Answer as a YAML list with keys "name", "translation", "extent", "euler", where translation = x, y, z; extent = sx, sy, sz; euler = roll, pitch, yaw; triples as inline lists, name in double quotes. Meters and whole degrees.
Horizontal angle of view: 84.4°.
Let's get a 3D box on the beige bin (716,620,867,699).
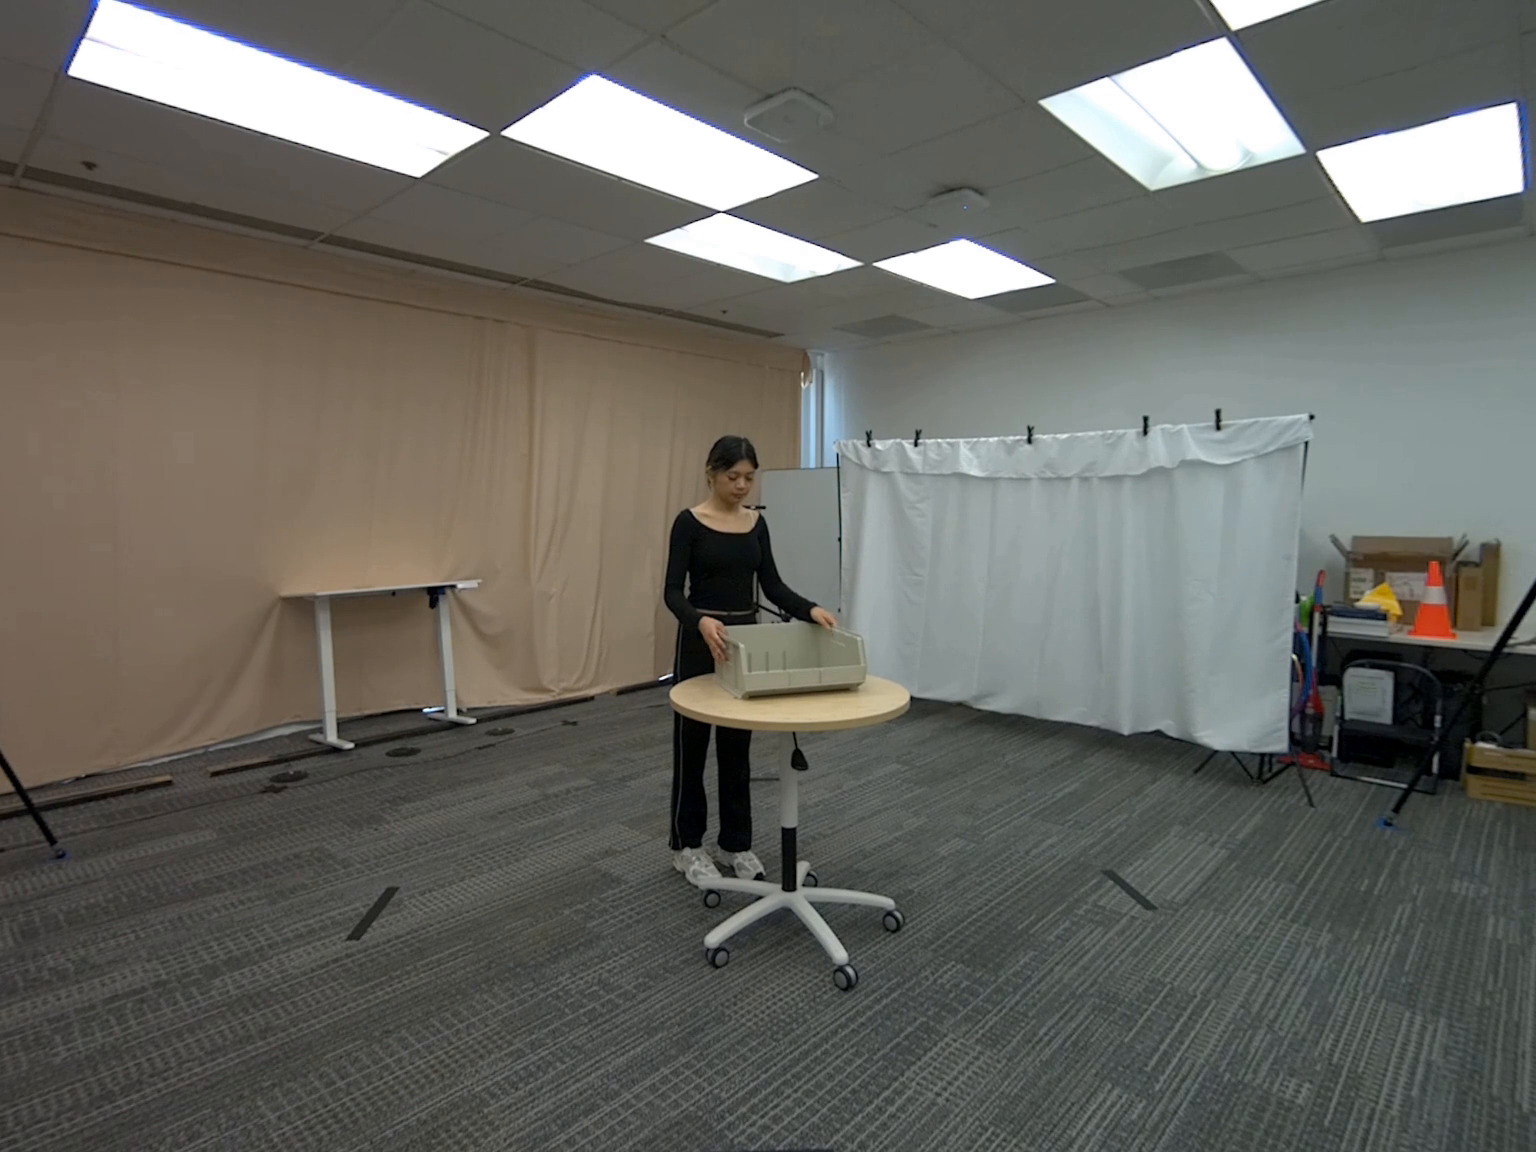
- name: "beige bin"
  translation: [0.066, 0.276, 2.789]
  extent: [0.415, 0.188, 0.385]
  euler: [-2, 5, -18]
